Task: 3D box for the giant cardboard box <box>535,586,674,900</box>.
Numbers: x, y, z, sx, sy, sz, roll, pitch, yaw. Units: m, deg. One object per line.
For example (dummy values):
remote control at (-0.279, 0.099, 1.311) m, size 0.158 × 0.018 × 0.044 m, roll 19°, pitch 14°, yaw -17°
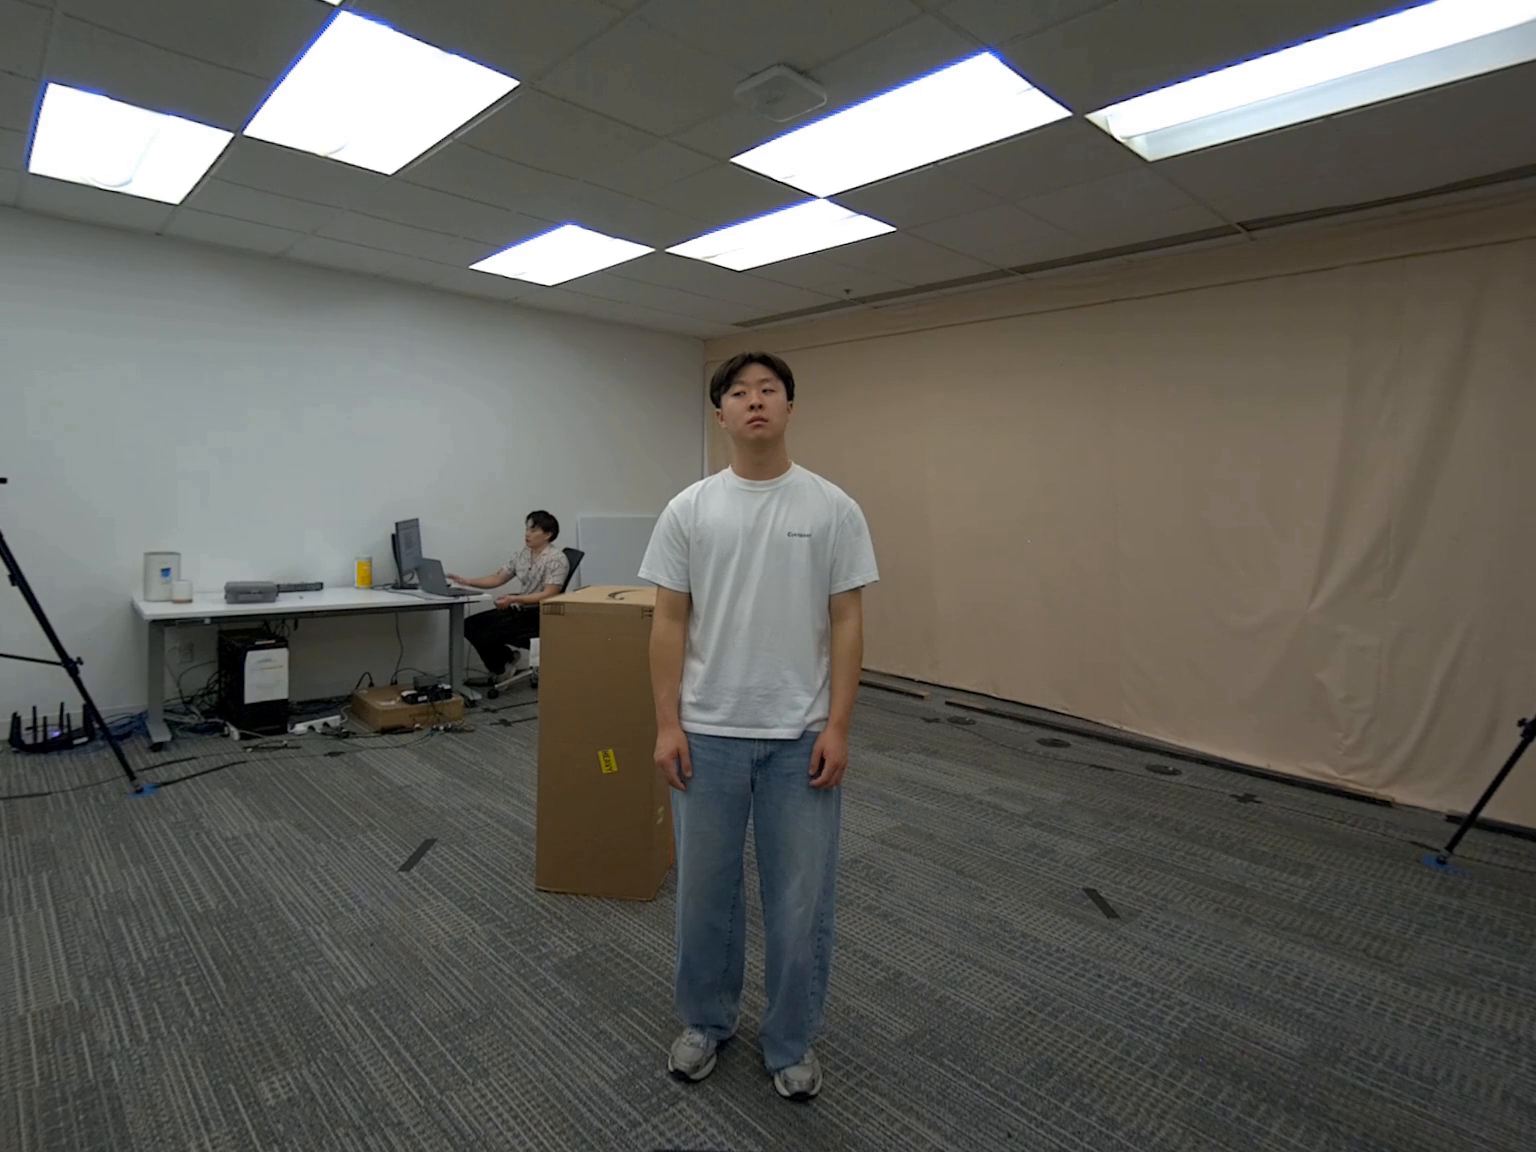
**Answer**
giant cardboard box at (-0.575, 0.580, 3.176) m, size 0.429 × 1.023 × 0.575 m, roll 2°, pitch 3°, yaw 8°
